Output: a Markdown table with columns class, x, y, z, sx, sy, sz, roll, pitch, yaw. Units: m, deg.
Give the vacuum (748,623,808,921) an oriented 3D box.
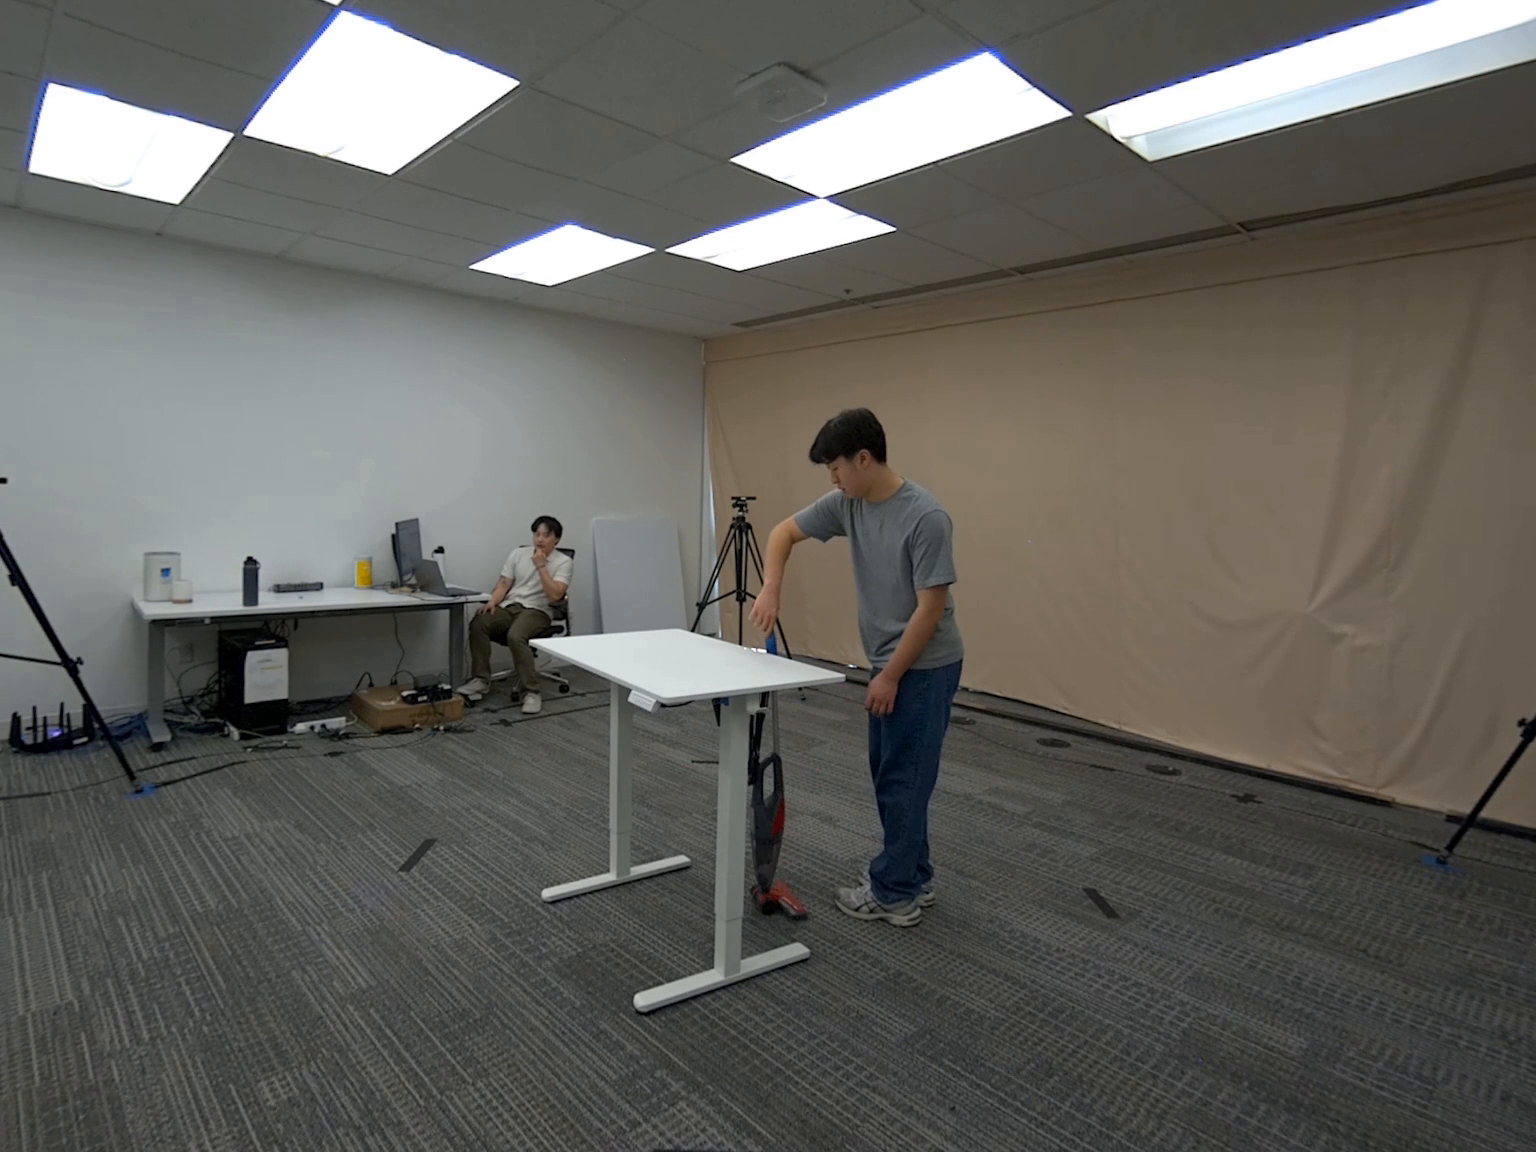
| class | x | y | z | sx | sy | sz | roll | pitch | yaw |
| --- | --- | --- | --- | --- | --- | --- | --- | --- | --- |
| vacuum | -0.006 | 0.600 | 2.856 | 0.143 | 1.047 | 0.255 | -5 | 2 | -12 |
